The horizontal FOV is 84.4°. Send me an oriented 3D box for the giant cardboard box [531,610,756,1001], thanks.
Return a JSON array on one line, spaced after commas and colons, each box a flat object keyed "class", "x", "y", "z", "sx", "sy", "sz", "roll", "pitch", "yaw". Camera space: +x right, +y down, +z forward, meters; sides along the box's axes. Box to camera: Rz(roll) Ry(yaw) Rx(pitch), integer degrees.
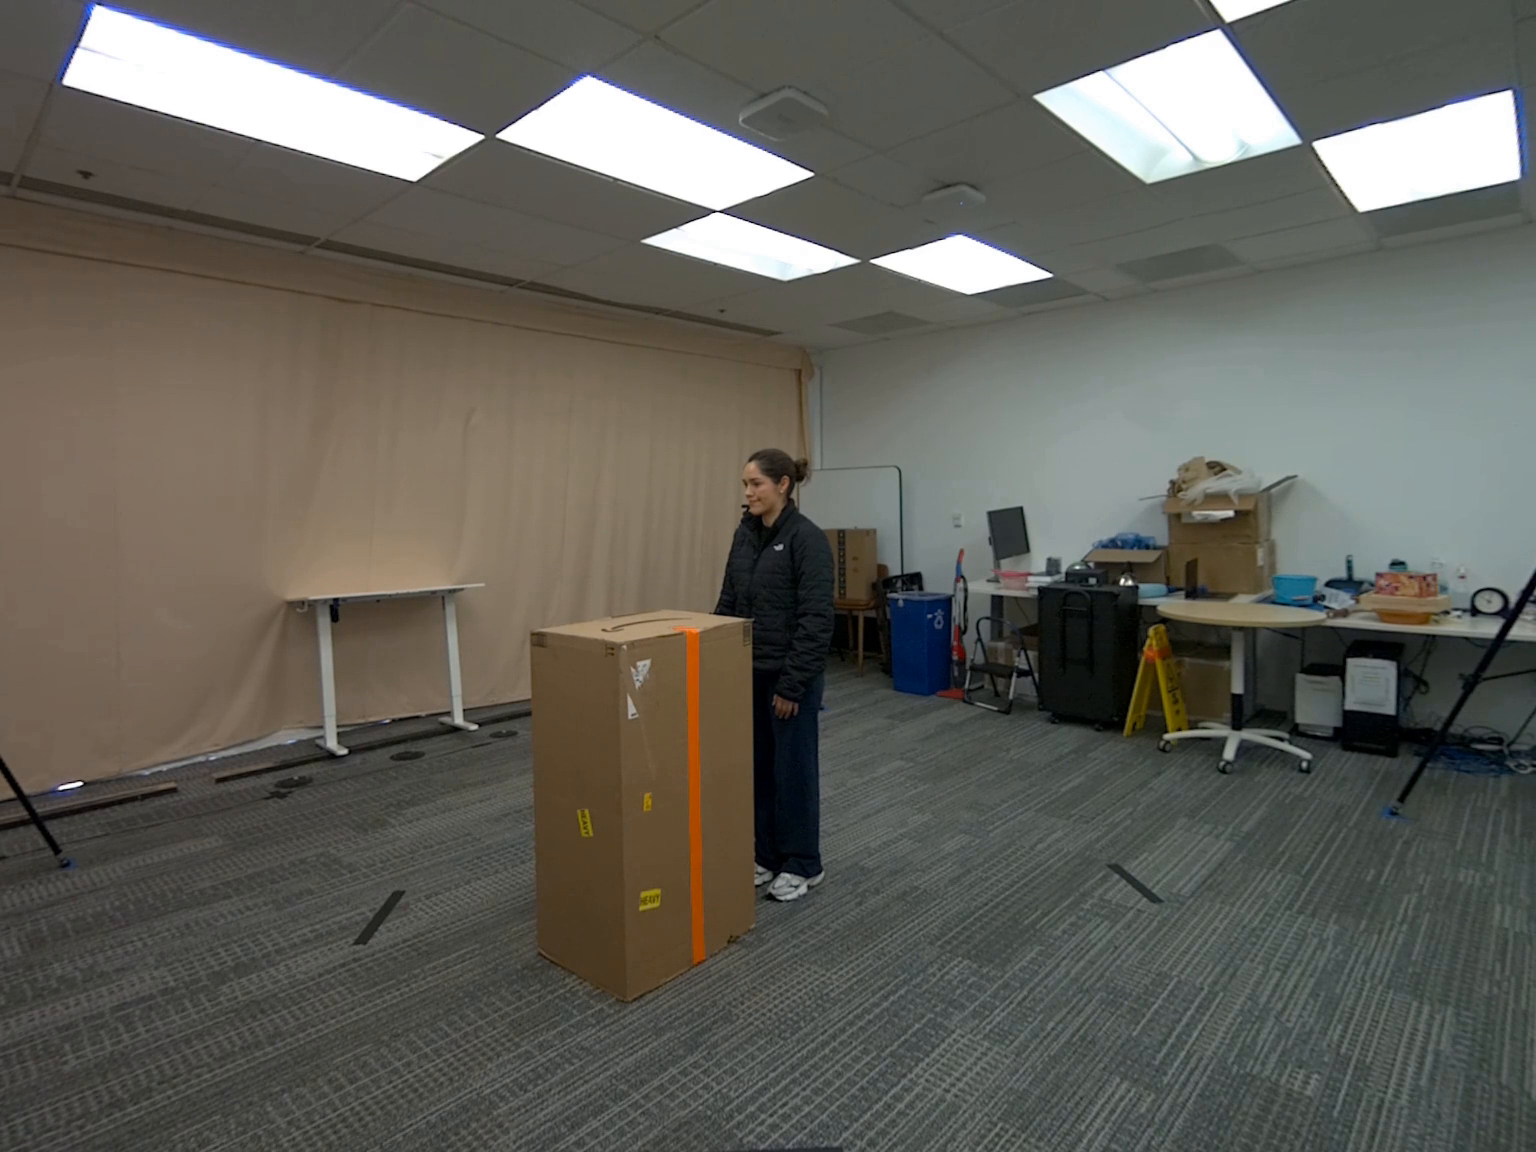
[{"class": "giant cardboard box", "x": -0.375, "y": 0.666, "z": 2.683, "sx": 0.440, "sy": 1.024, "sz": 0.560, "roll": 1, "pitch": 4, "yaw": 41}]
